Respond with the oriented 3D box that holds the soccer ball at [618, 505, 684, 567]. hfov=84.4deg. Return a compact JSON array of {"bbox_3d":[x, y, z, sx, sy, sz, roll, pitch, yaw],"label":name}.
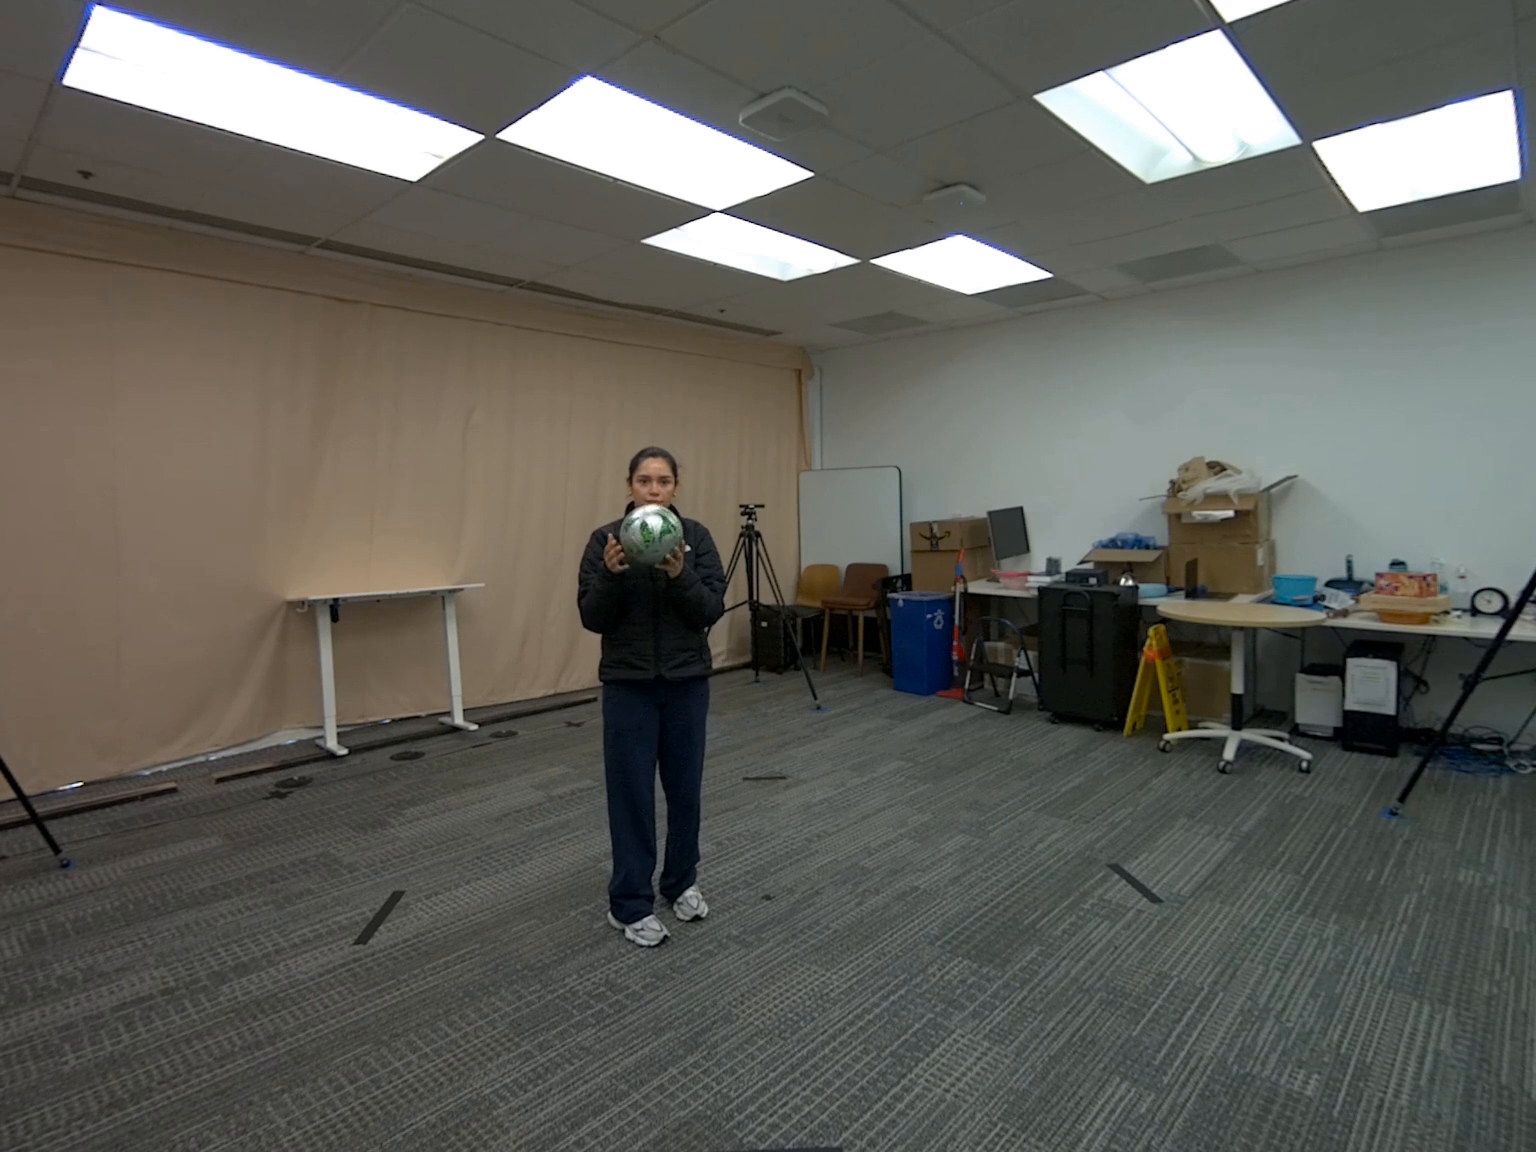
[{"bbox_3d":[-0.360,-0.114,2.534,0.187,0.187,0.188,-1,4,-2],"label":"soccer ball"}]
